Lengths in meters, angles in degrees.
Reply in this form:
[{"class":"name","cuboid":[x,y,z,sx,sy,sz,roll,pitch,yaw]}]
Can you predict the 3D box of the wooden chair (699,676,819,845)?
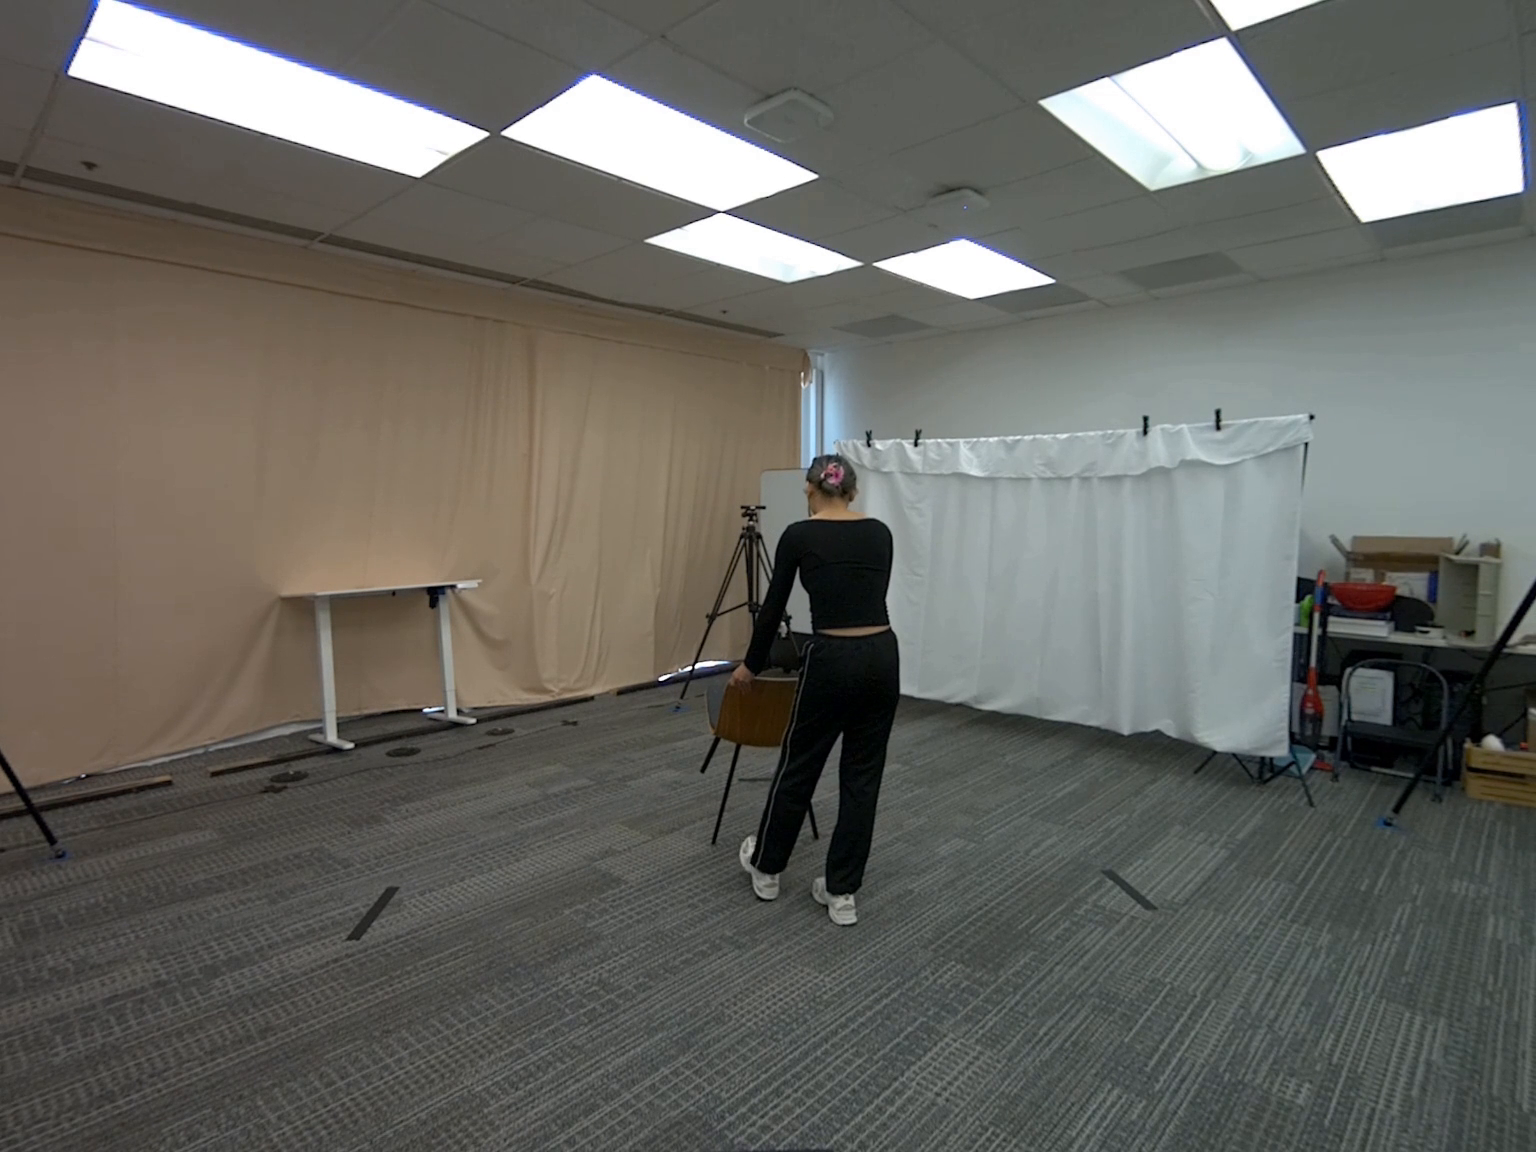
[{"class":"wooden chair","cuboid":[-0.020,0.614,3.509,0.474,0.865,0.535,-1,31,-9]}]
